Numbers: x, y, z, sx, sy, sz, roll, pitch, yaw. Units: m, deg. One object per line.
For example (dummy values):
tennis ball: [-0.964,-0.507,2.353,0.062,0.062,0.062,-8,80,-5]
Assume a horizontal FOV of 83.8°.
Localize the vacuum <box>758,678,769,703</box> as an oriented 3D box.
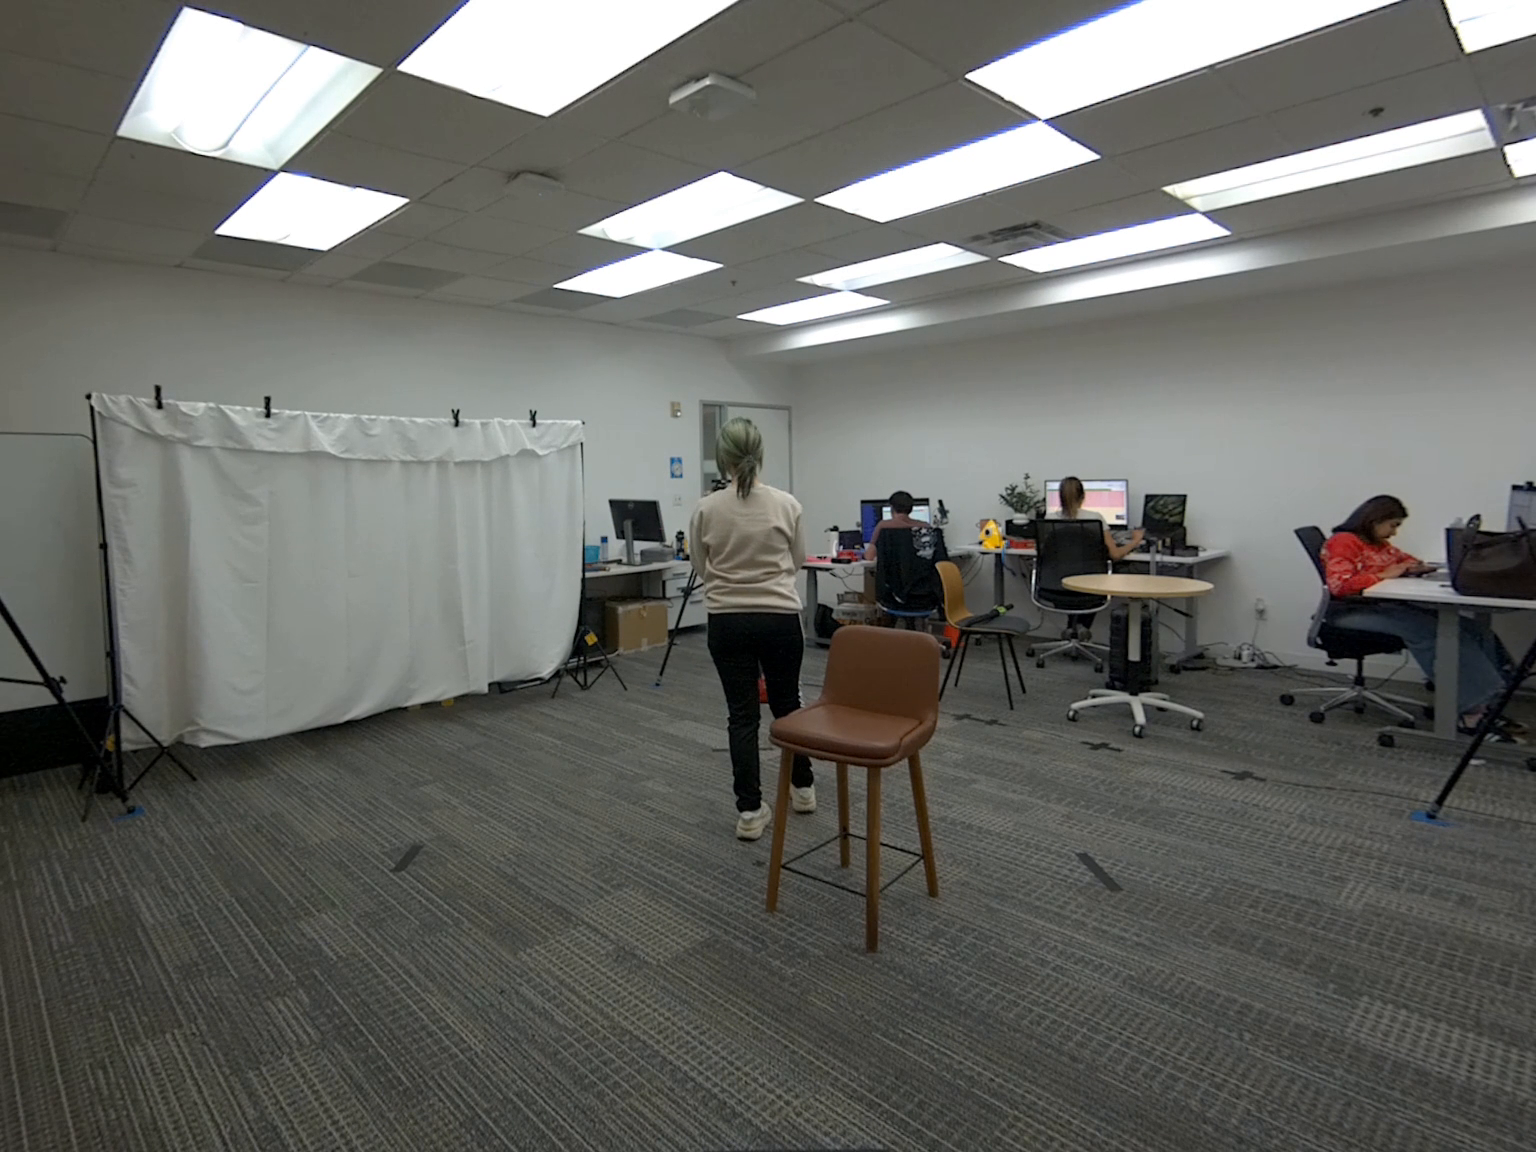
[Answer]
vacuum: [-0.069,-0.015,3.786,0.254,1.048,0.143,-3,1,6]
